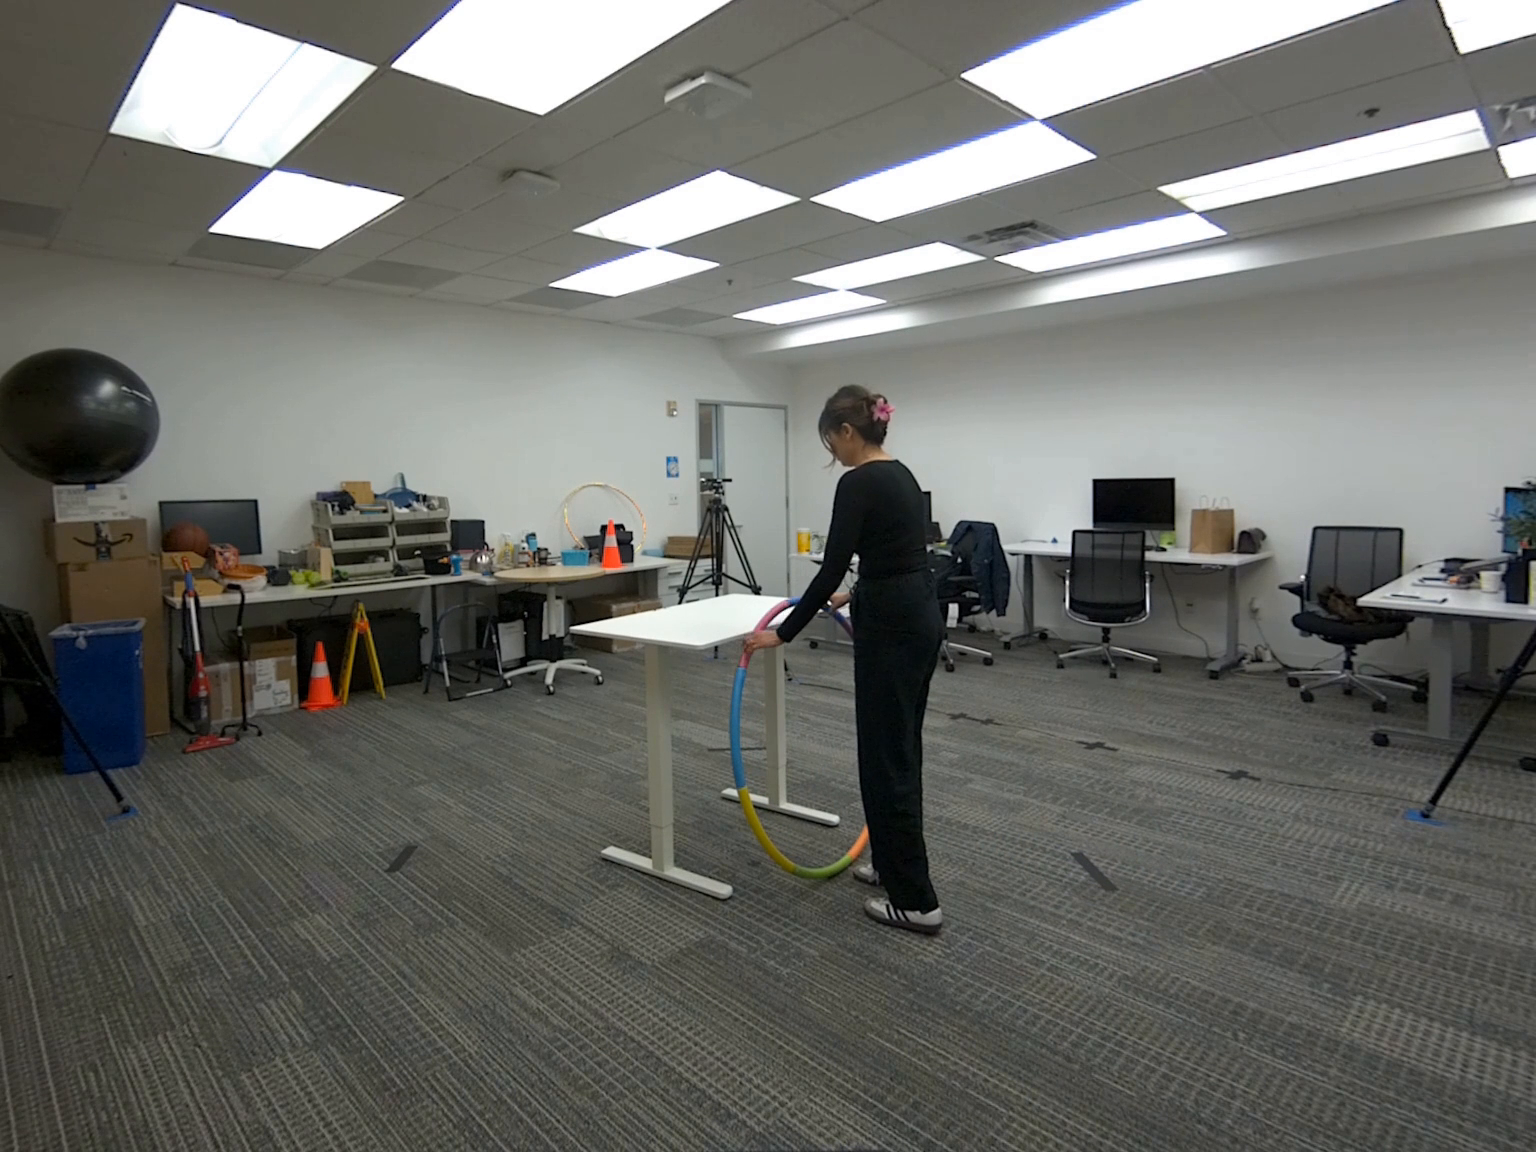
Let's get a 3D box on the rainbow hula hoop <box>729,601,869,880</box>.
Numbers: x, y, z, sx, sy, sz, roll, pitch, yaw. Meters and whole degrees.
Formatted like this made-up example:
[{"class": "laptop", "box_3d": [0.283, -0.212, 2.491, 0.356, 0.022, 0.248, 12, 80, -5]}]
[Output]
[{"class": "rainbow hula hoop", "box_3d": [0.183, 0.559, 3.069, 0.036, 0.983, 0.954, -14, -4, 37]}]
